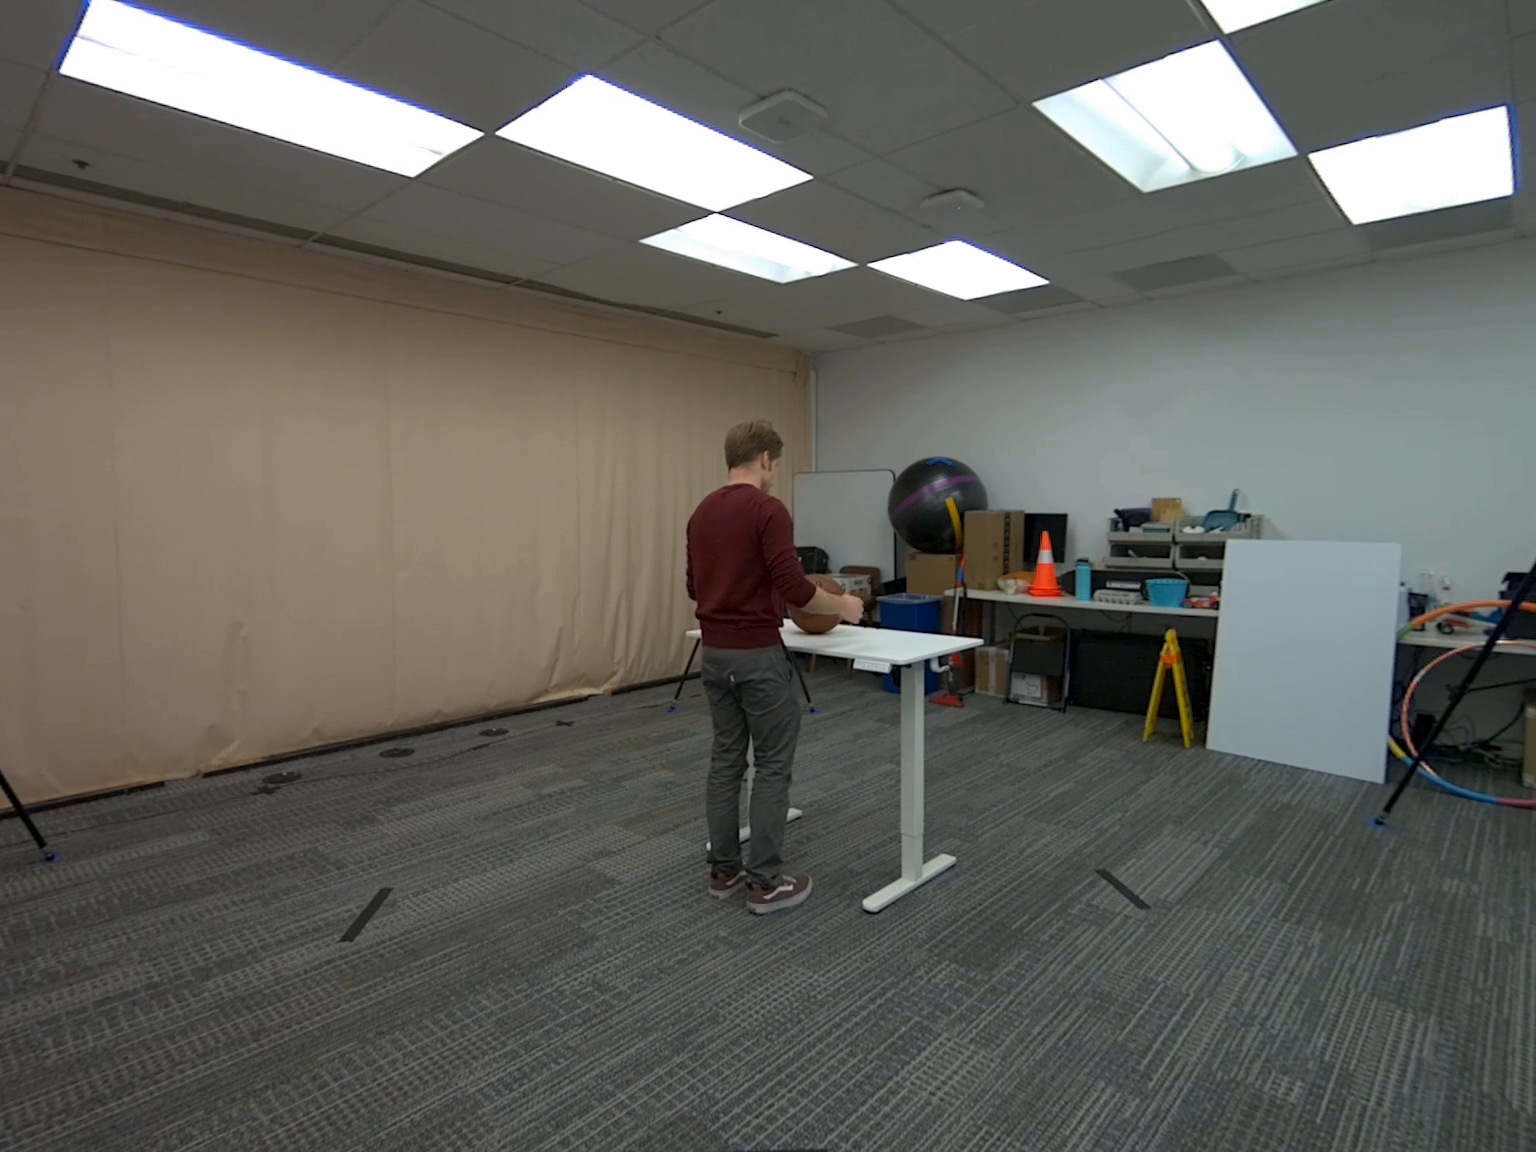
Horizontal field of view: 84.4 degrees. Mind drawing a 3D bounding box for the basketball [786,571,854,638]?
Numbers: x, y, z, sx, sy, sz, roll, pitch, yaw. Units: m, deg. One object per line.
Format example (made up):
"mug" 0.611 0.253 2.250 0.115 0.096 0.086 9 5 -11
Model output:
"basketball" 0.198 0.106 3.364 0.236 0.235 0.237 0 4 -2
